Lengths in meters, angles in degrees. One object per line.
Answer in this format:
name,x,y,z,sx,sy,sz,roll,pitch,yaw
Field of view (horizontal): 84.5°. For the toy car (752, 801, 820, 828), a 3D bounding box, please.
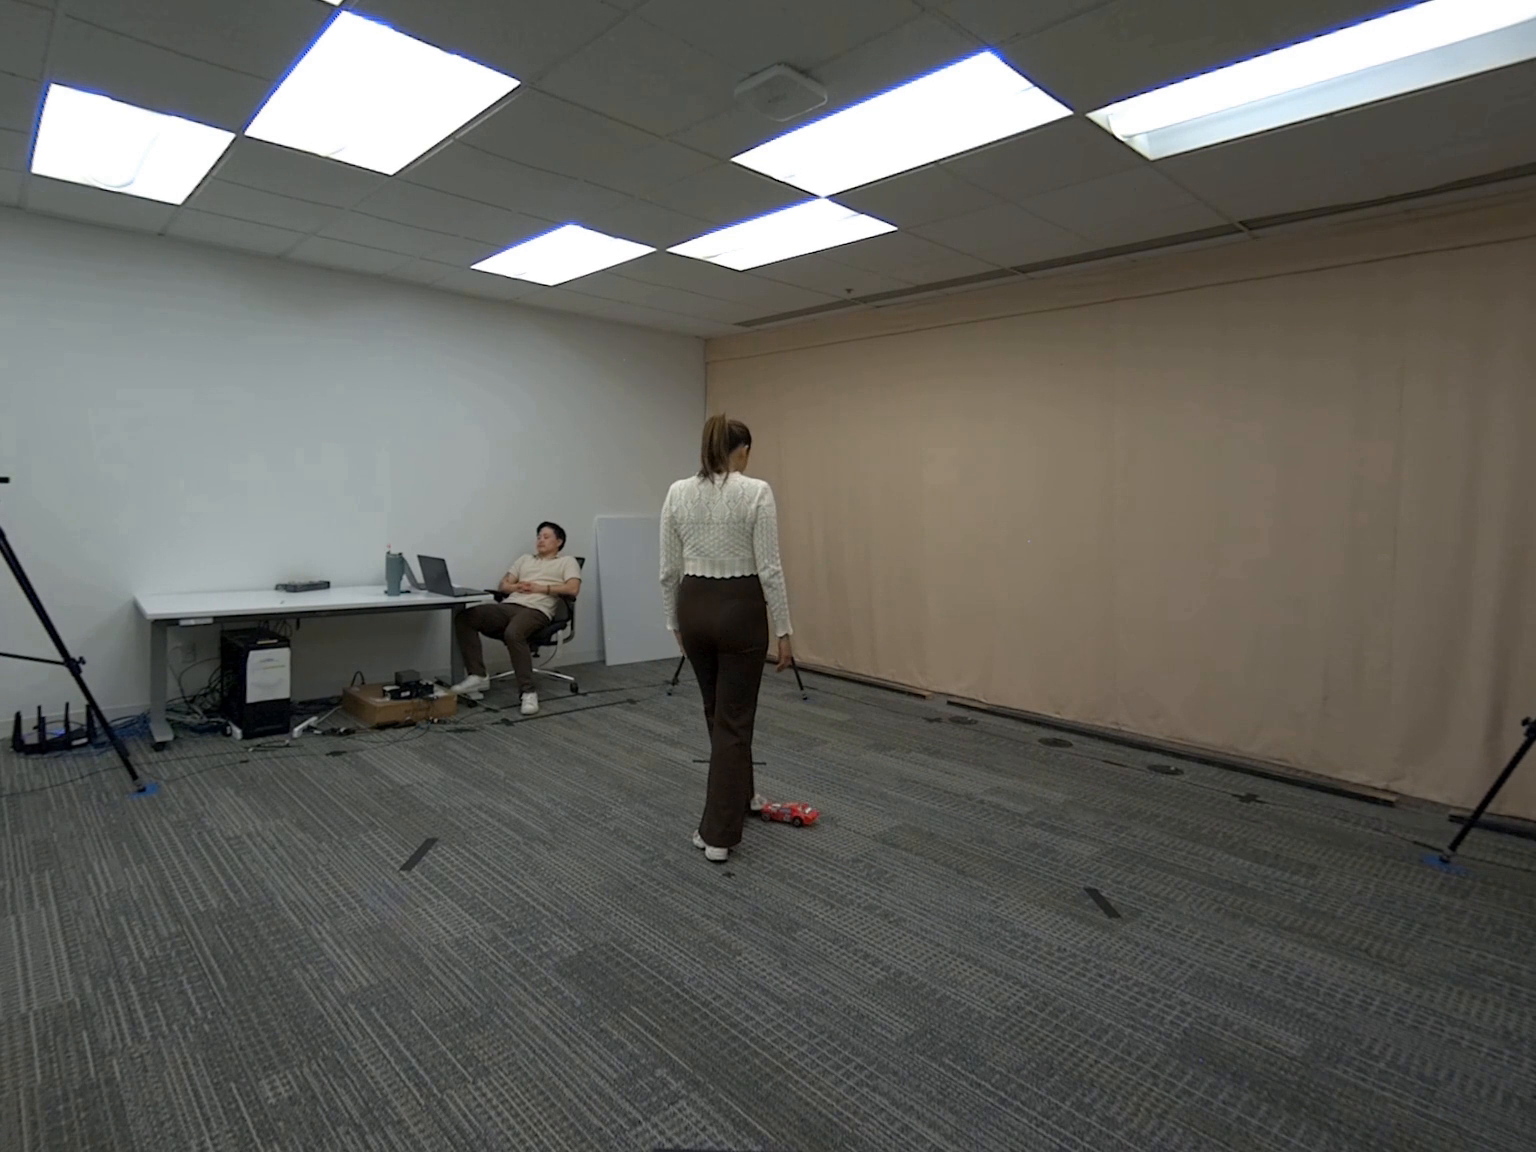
toy car,0.085,1.031,3.644,0.258,0.083,0.128,-9,0,25
